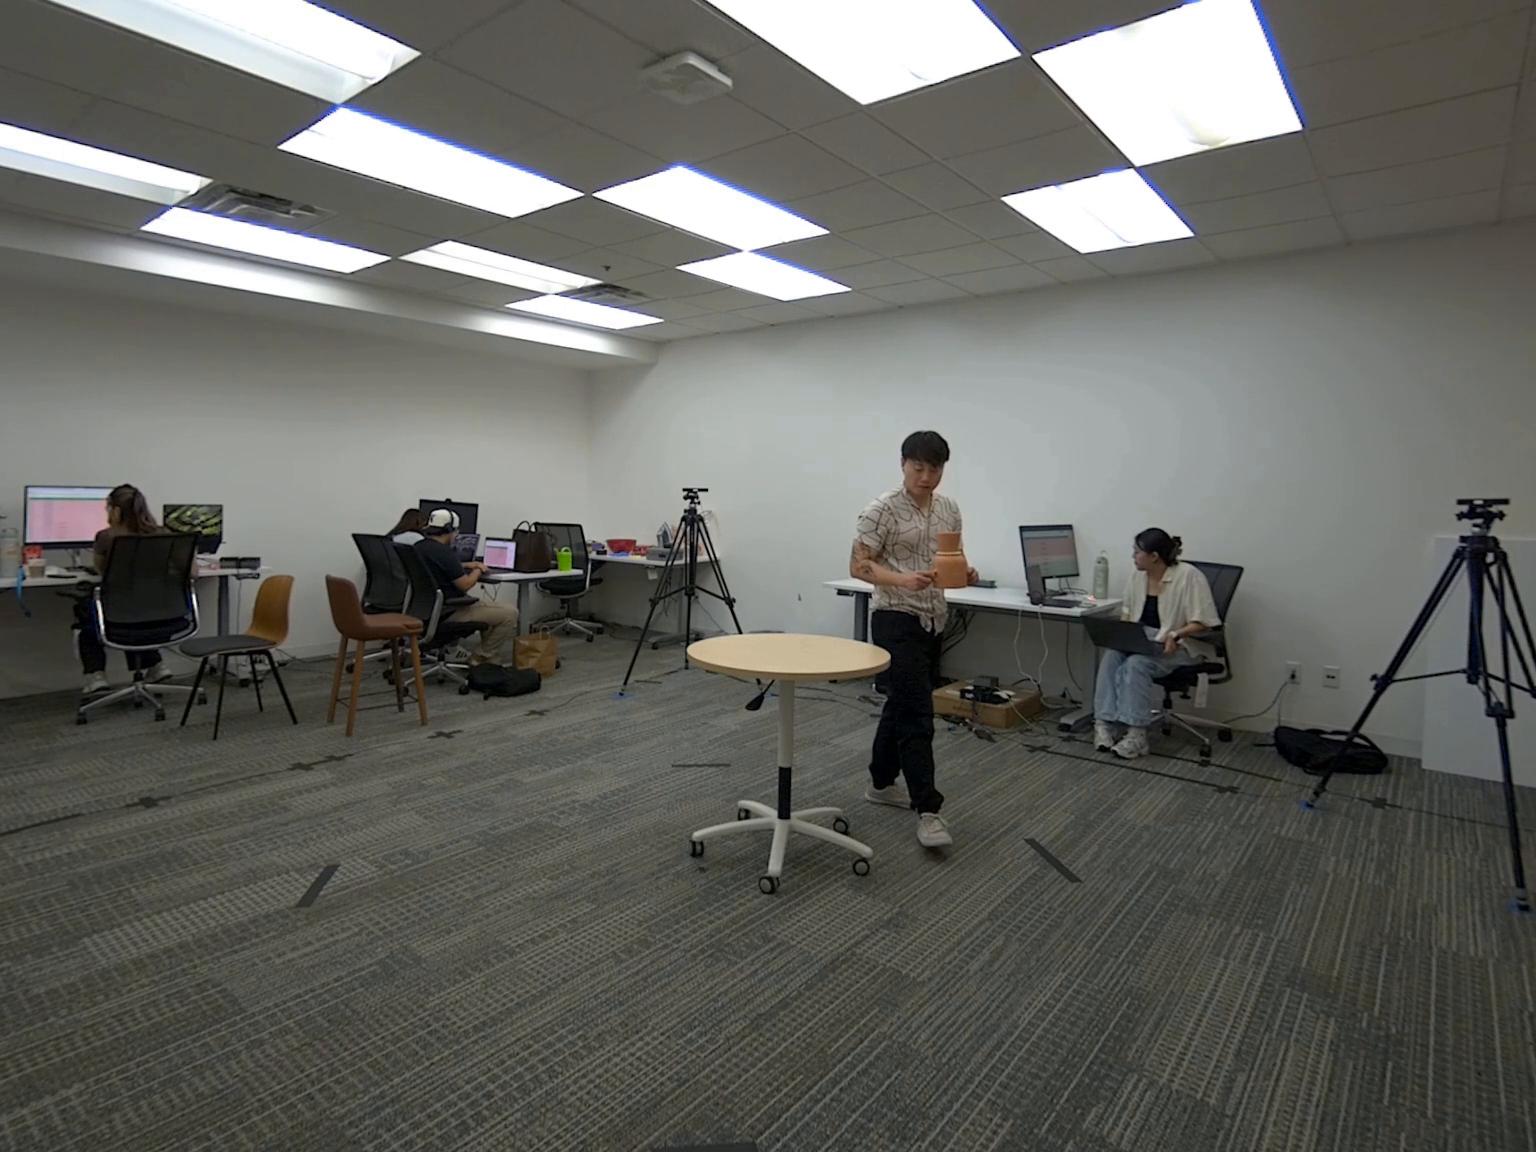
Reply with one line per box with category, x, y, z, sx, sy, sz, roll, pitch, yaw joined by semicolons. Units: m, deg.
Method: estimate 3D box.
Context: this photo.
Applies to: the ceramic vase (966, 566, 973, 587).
ceramic vase;0.709;-0.073;3.387;0.138;0.219;0.155;0;2;23
